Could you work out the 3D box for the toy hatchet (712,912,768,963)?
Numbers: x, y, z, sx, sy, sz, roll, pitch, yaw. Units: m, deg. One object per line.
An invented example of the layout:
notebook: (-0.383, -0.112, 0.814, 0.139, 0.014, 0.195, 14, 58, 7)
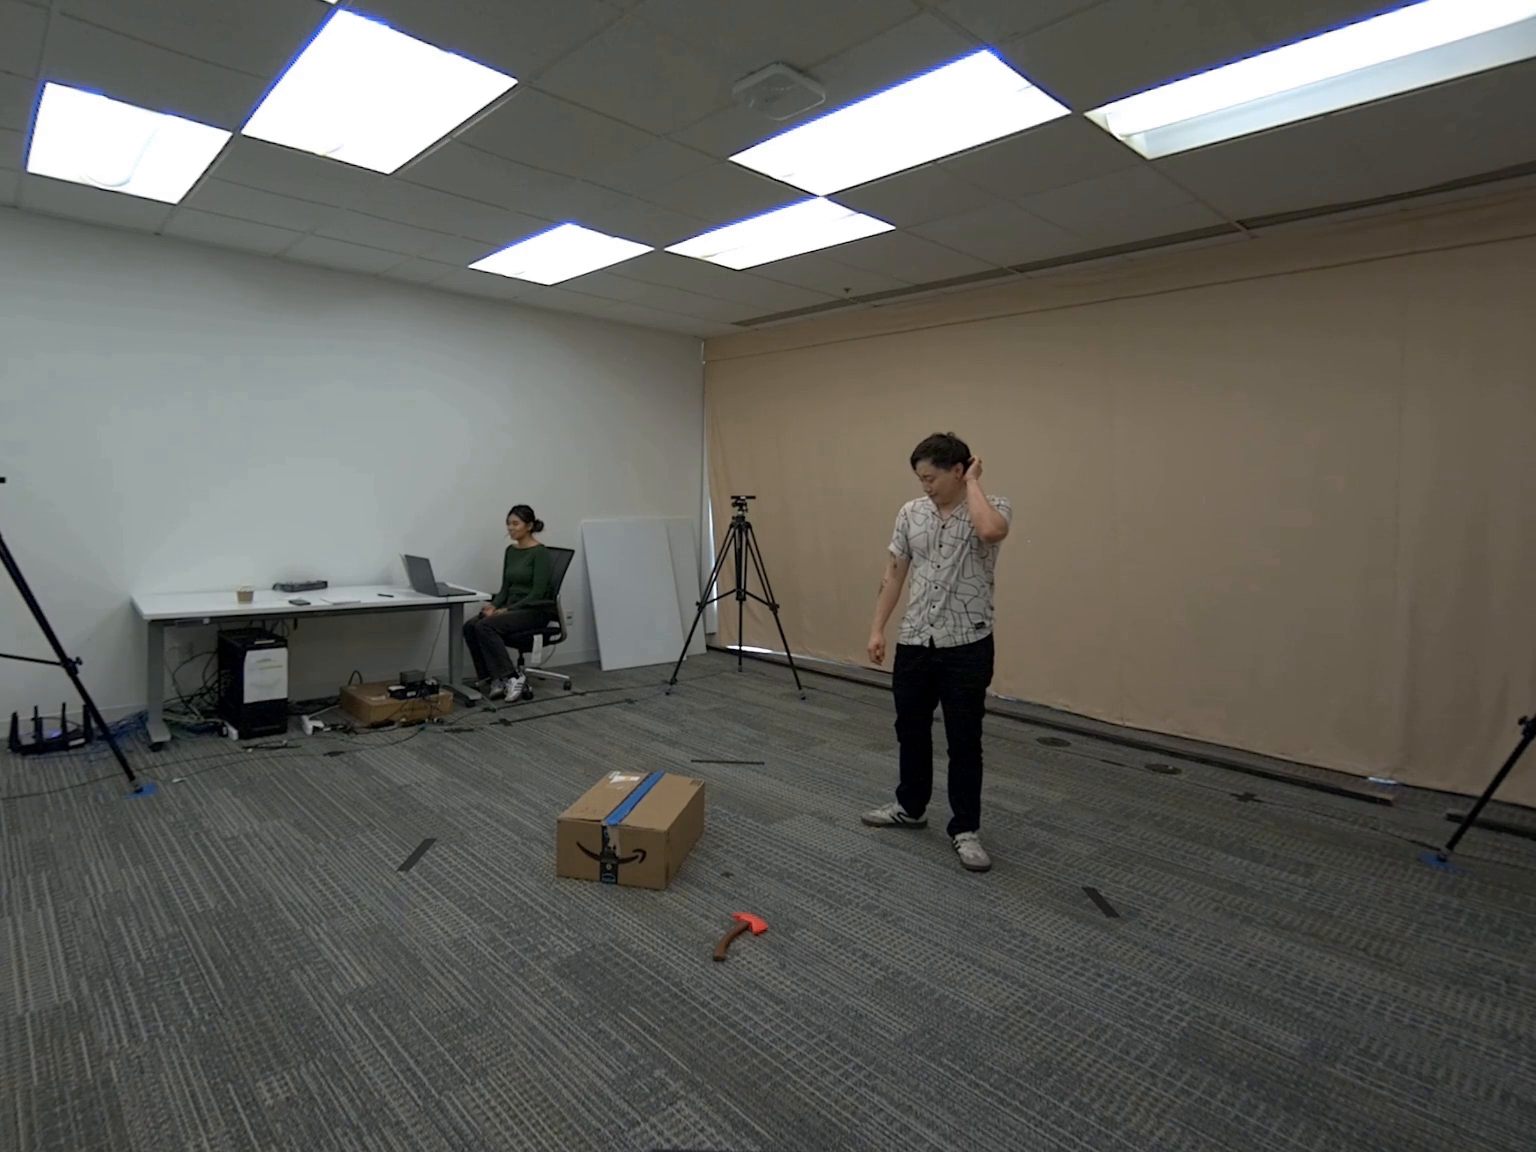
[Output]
toy hatchet: (-0.087, 1.136, 2.629, 0.132, 0.029, 0.268, 5, 7, 11)
